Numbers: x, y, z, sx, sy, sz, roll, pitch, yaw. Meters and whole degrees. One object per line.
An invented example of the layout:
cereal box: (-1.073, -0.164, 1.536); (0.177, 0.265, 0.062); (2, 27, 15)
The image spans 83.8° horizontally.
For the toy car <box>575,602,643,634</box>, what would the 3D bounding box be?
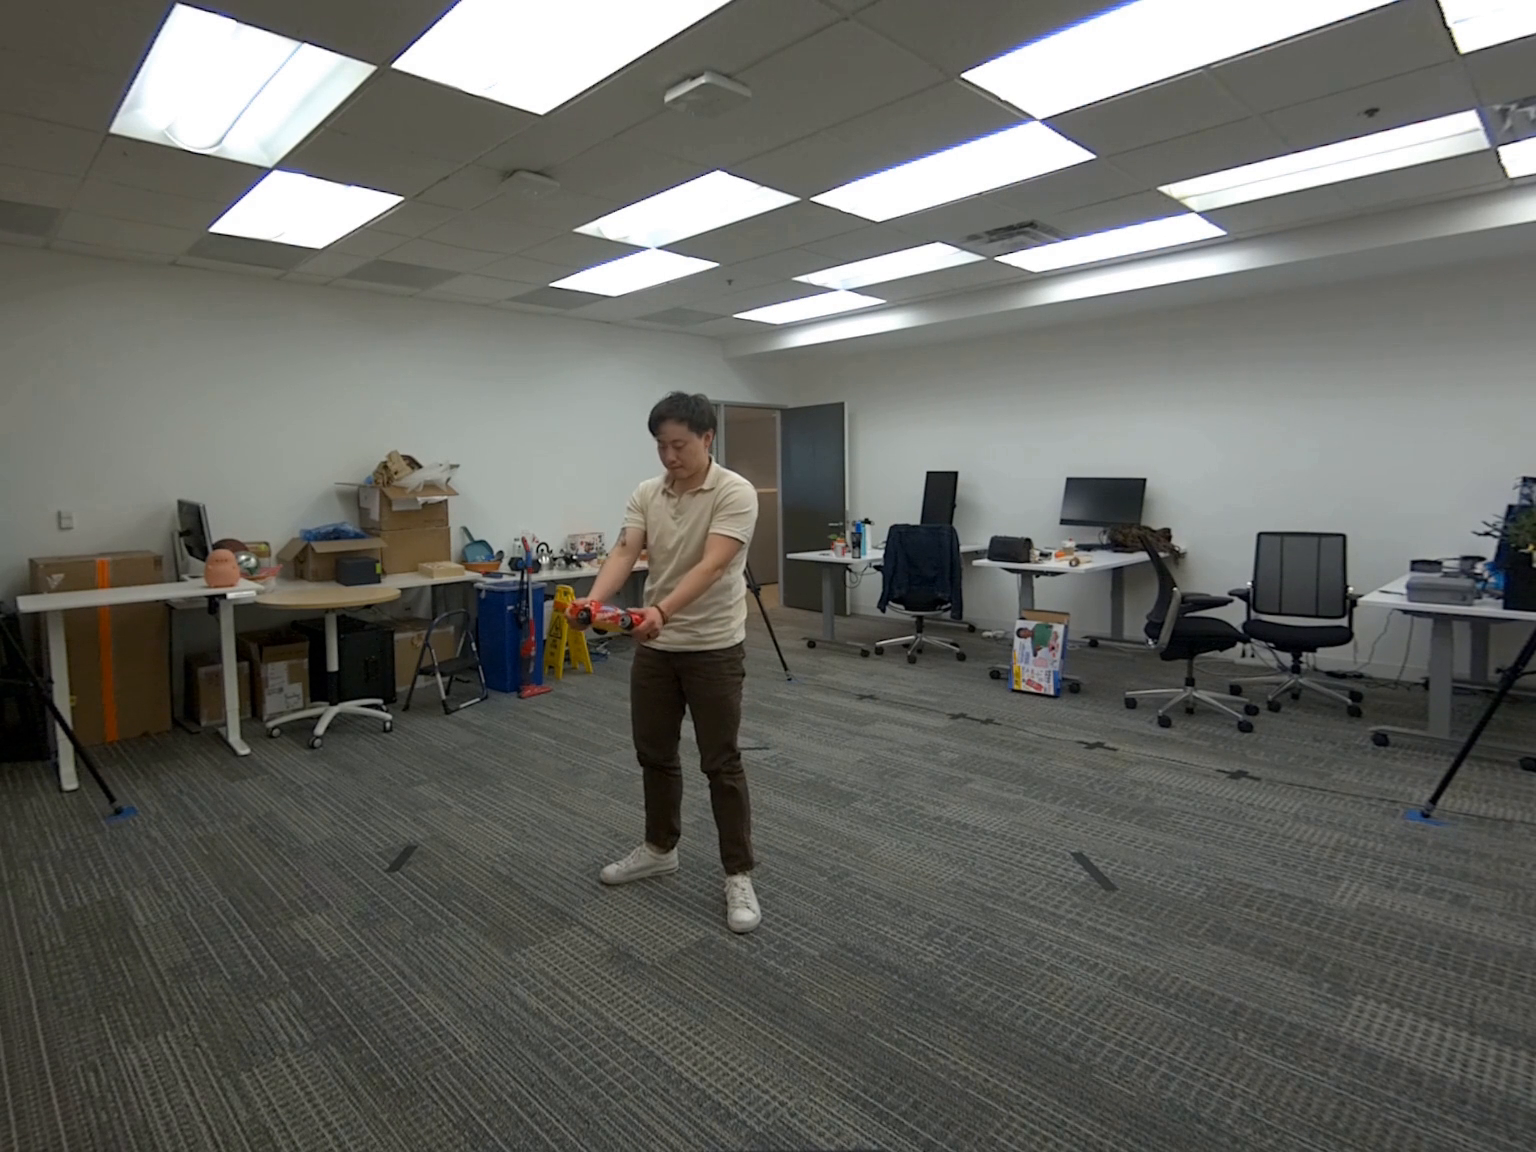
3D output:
toy car: (-0.466, 0.130, 2.486); (0.263, 0.083, 0.125); (16, -11, 33)
